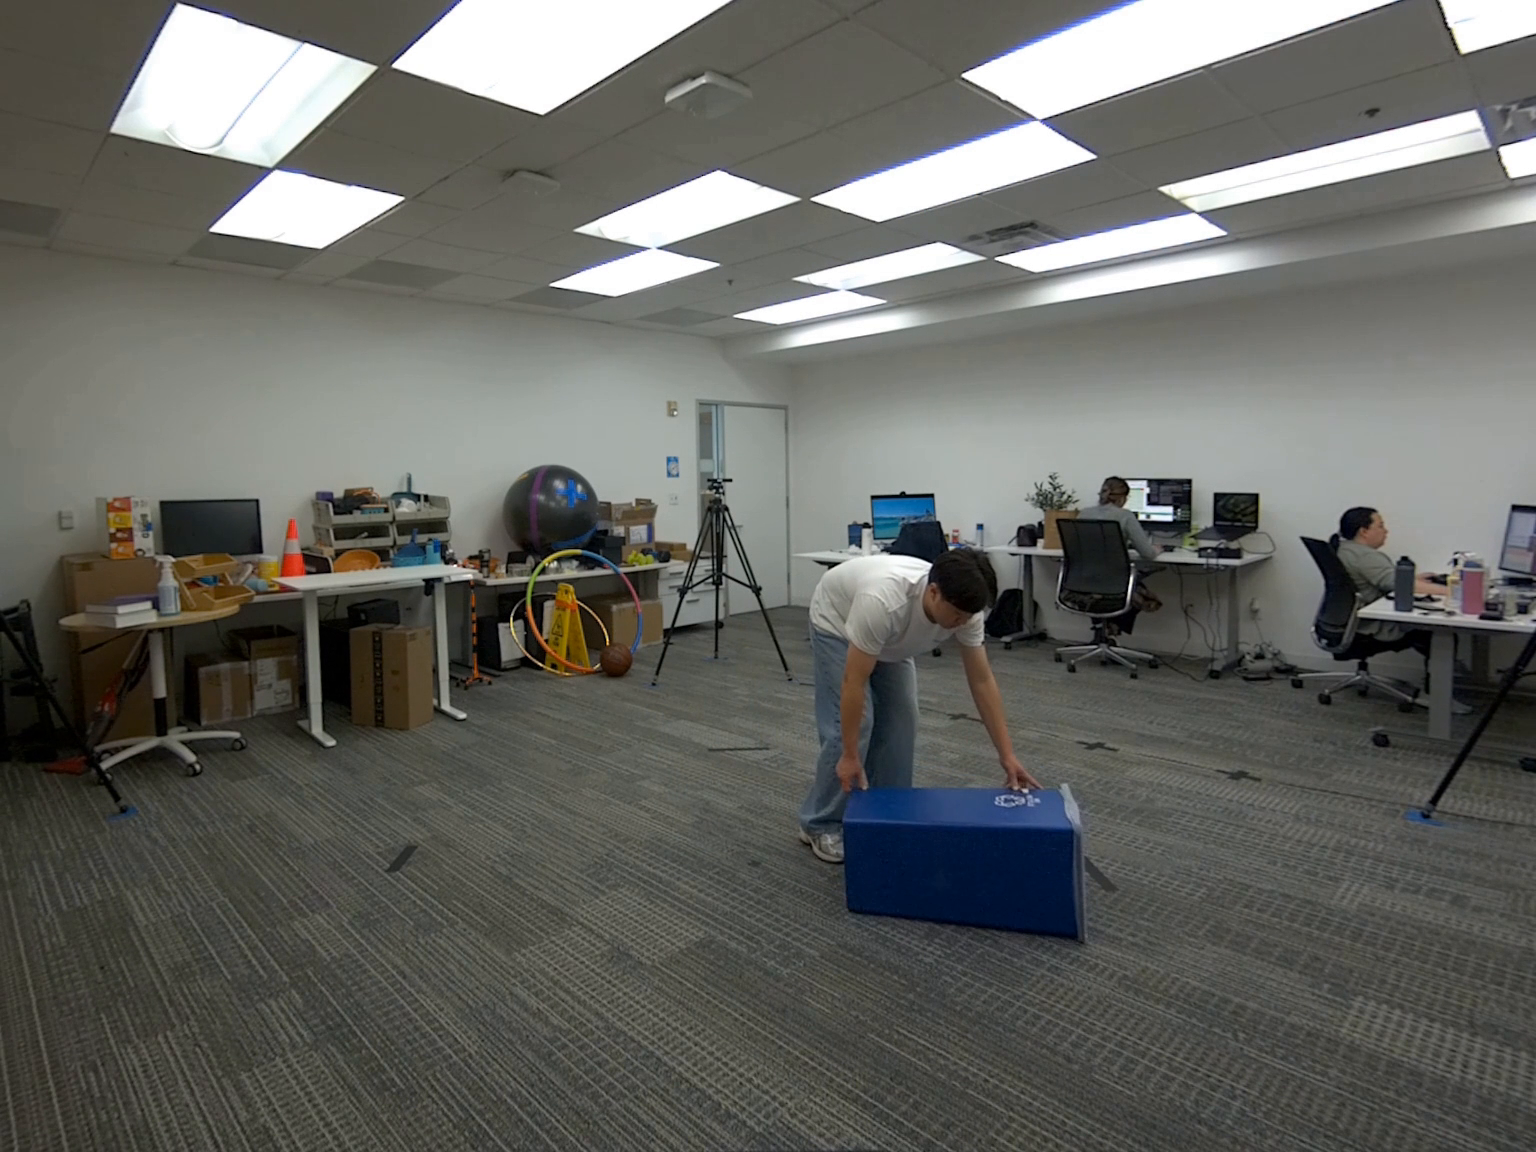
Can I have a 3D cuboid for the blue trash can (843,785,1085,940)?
[{"bbox_3d":[0.629,0.906,2.772,0.723,0.377,0.370,-3,4,14],"label":"blue trash can"}]
